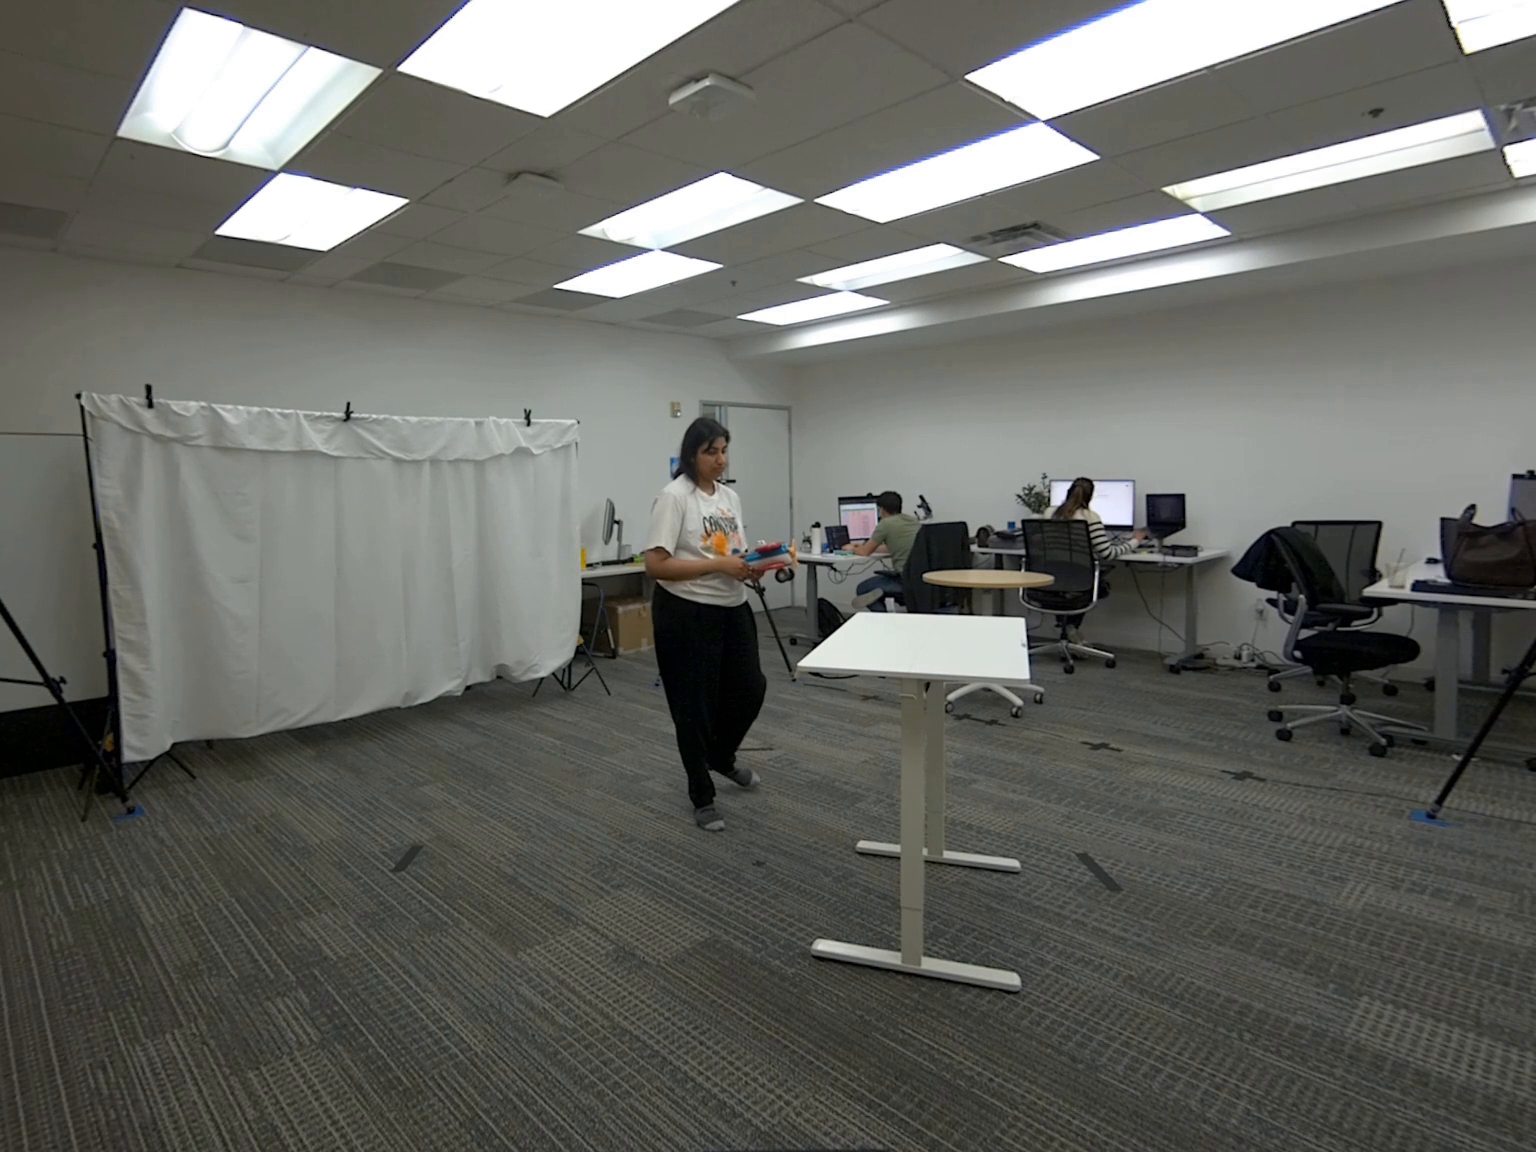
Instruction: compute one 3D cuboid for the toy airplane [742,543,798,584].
[{"bbox_3d":[-0.020,-0.056,3.334,0.257,0.156,0.254,0,5,-11],"label":"toy airplane"}]
